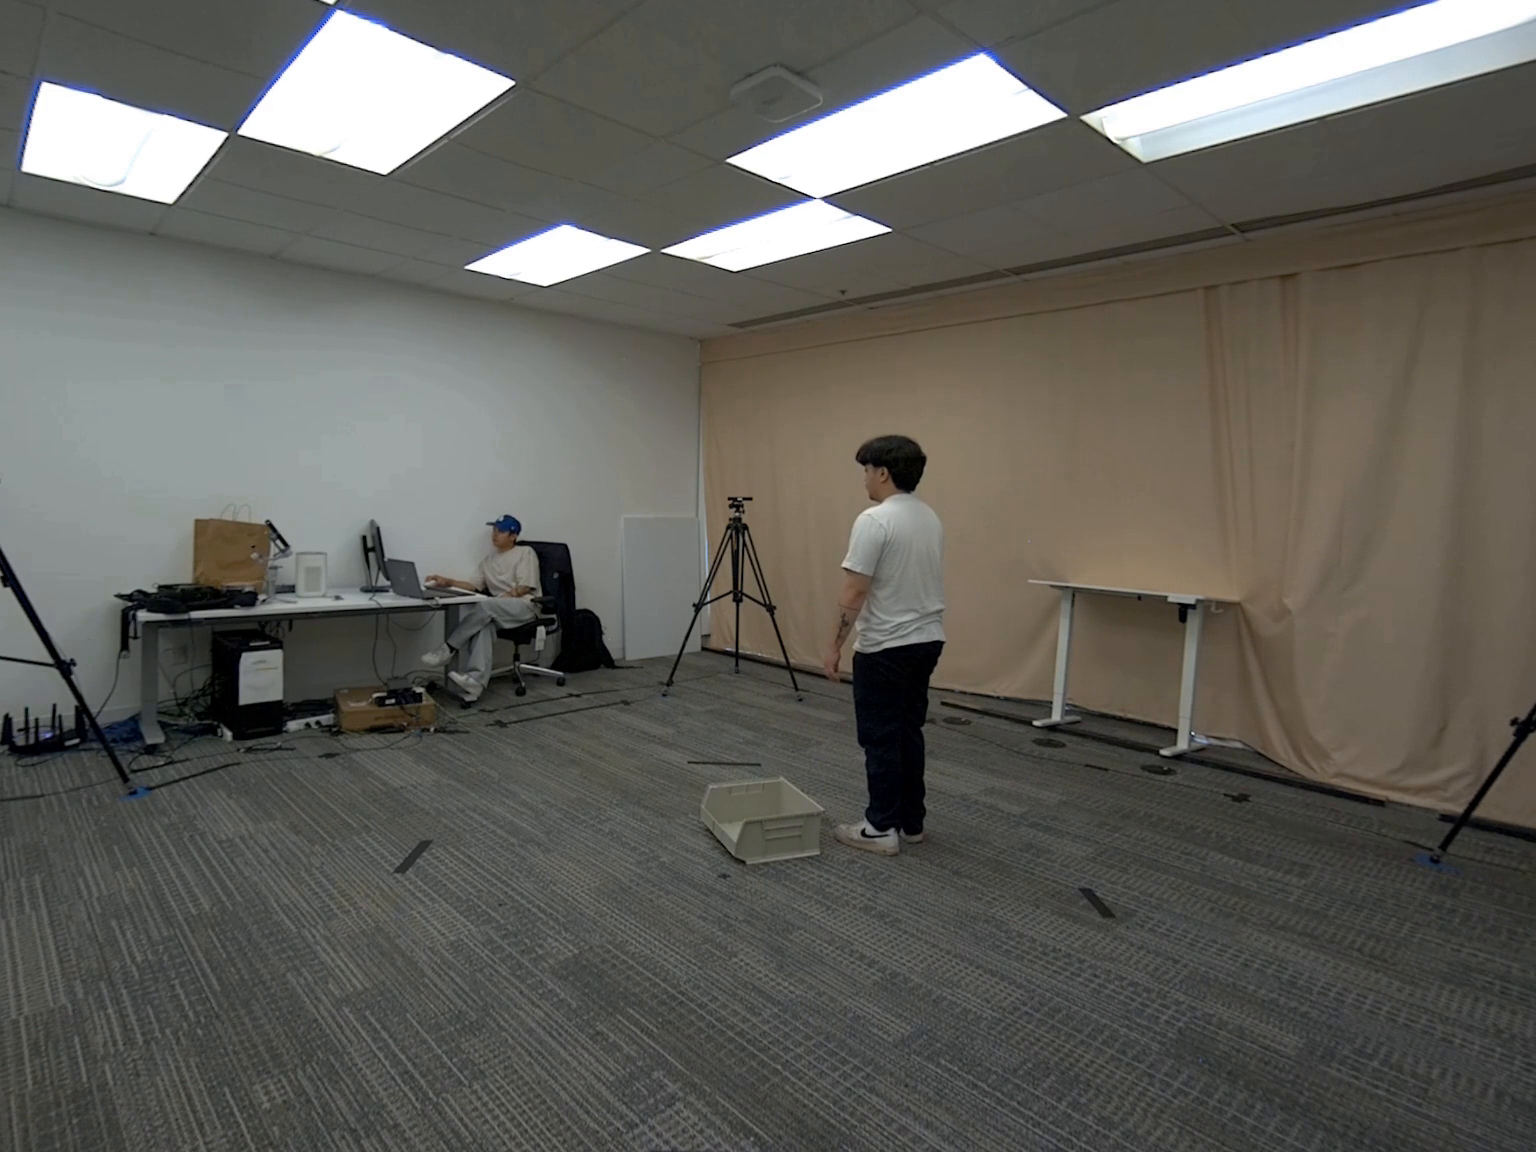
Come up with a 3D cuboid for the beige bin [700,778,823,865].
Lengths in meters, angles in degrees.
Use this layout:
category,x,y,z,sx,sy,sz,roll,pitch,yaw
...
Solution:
category,x,y,z,sx,sy,sz,roll,pitch,yaw
beige bin,-0.039,0.991,3.439,0.371,0.188,0.430,0,4,-22
